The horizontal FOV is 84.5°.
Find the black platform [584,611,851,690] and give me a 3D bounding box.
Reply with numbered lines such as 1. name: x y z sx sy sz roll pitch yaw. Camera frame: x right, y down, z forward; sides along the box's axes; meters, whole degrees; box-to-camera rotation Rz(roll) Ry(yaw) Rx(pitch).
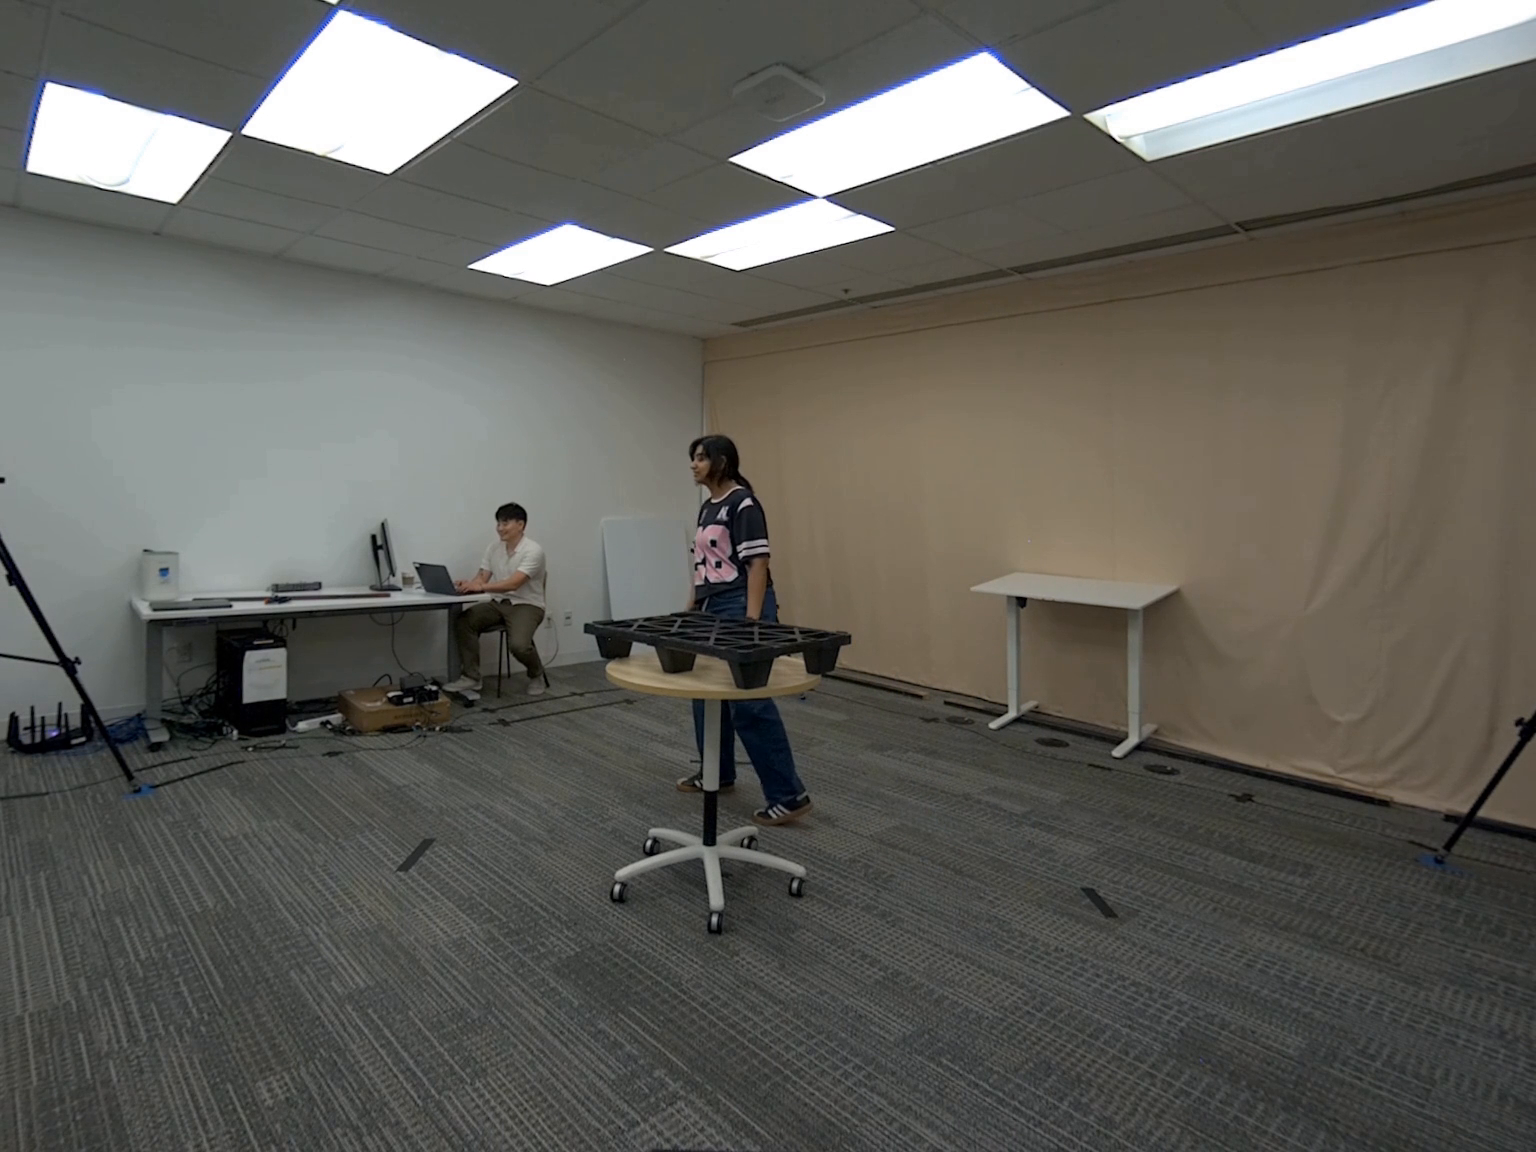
1. black platform: -0.202 0.260 3.067 0.826 0.143 0.591 6 6 42
